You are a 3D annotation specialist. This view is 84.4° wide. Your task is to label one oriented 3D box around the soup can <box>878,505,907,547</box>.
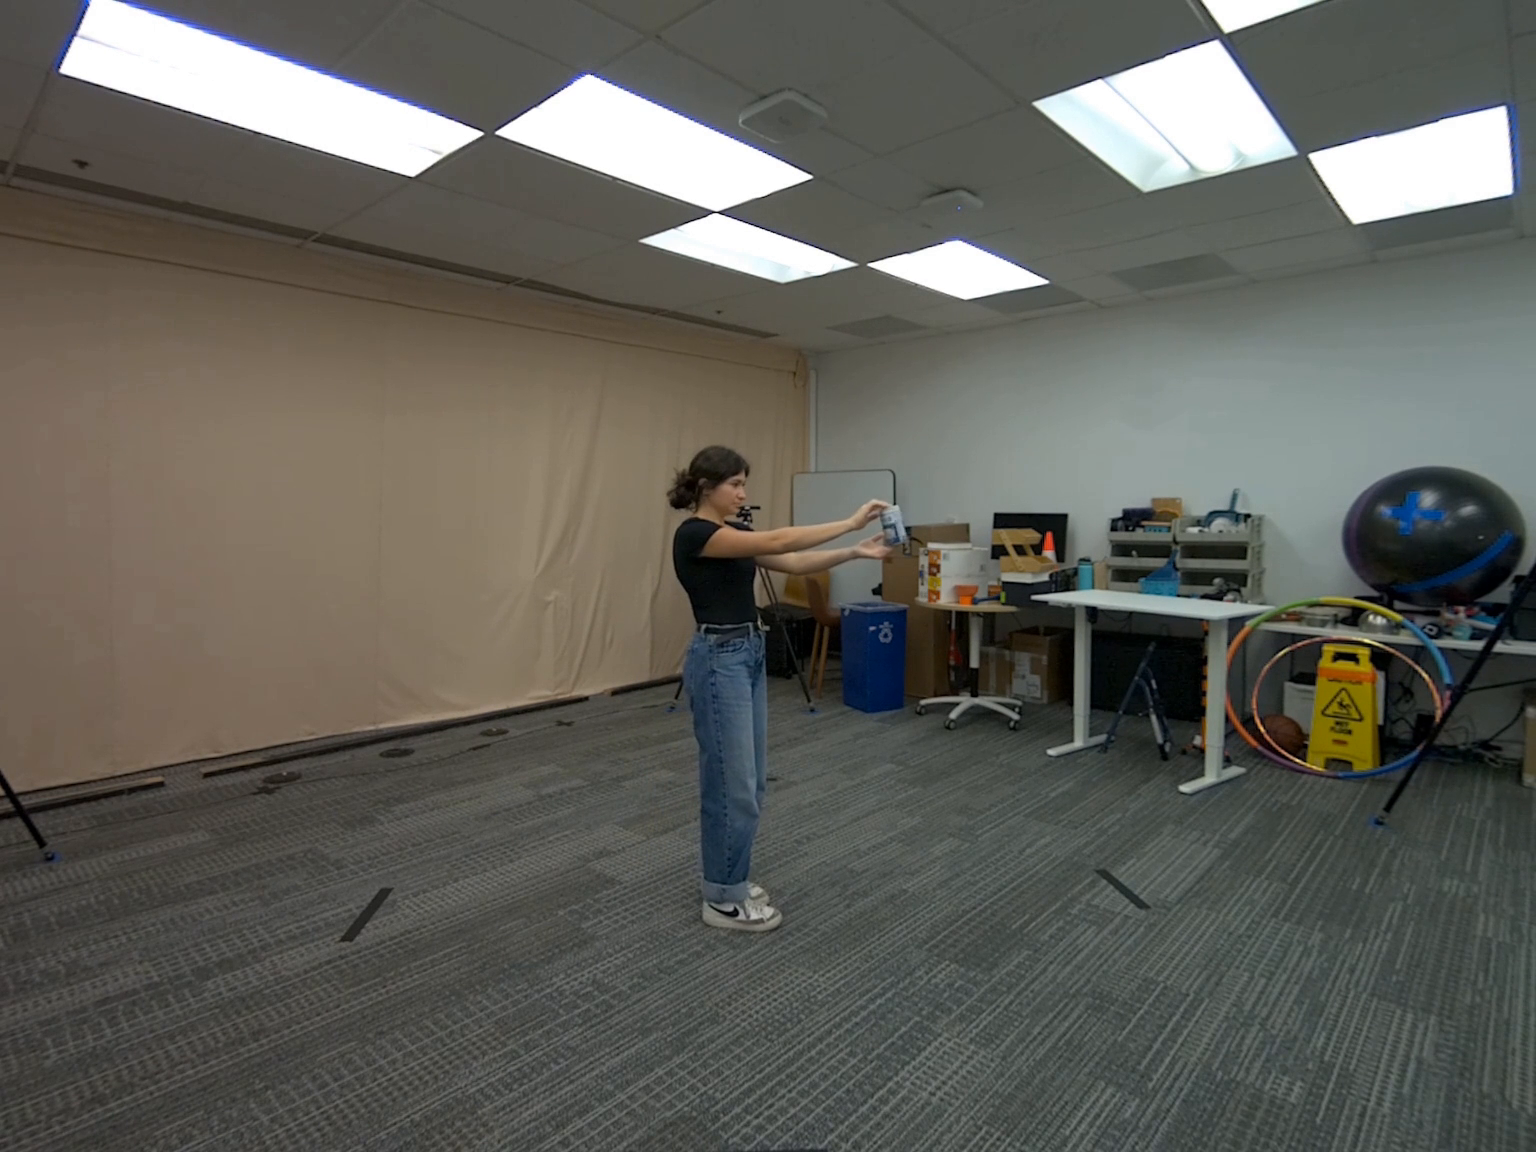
[{"bbox_3d":[0.399,-0.161,2.662,0.067,0.121,0.067,-12,3,-1],"label":"soup can"}]
